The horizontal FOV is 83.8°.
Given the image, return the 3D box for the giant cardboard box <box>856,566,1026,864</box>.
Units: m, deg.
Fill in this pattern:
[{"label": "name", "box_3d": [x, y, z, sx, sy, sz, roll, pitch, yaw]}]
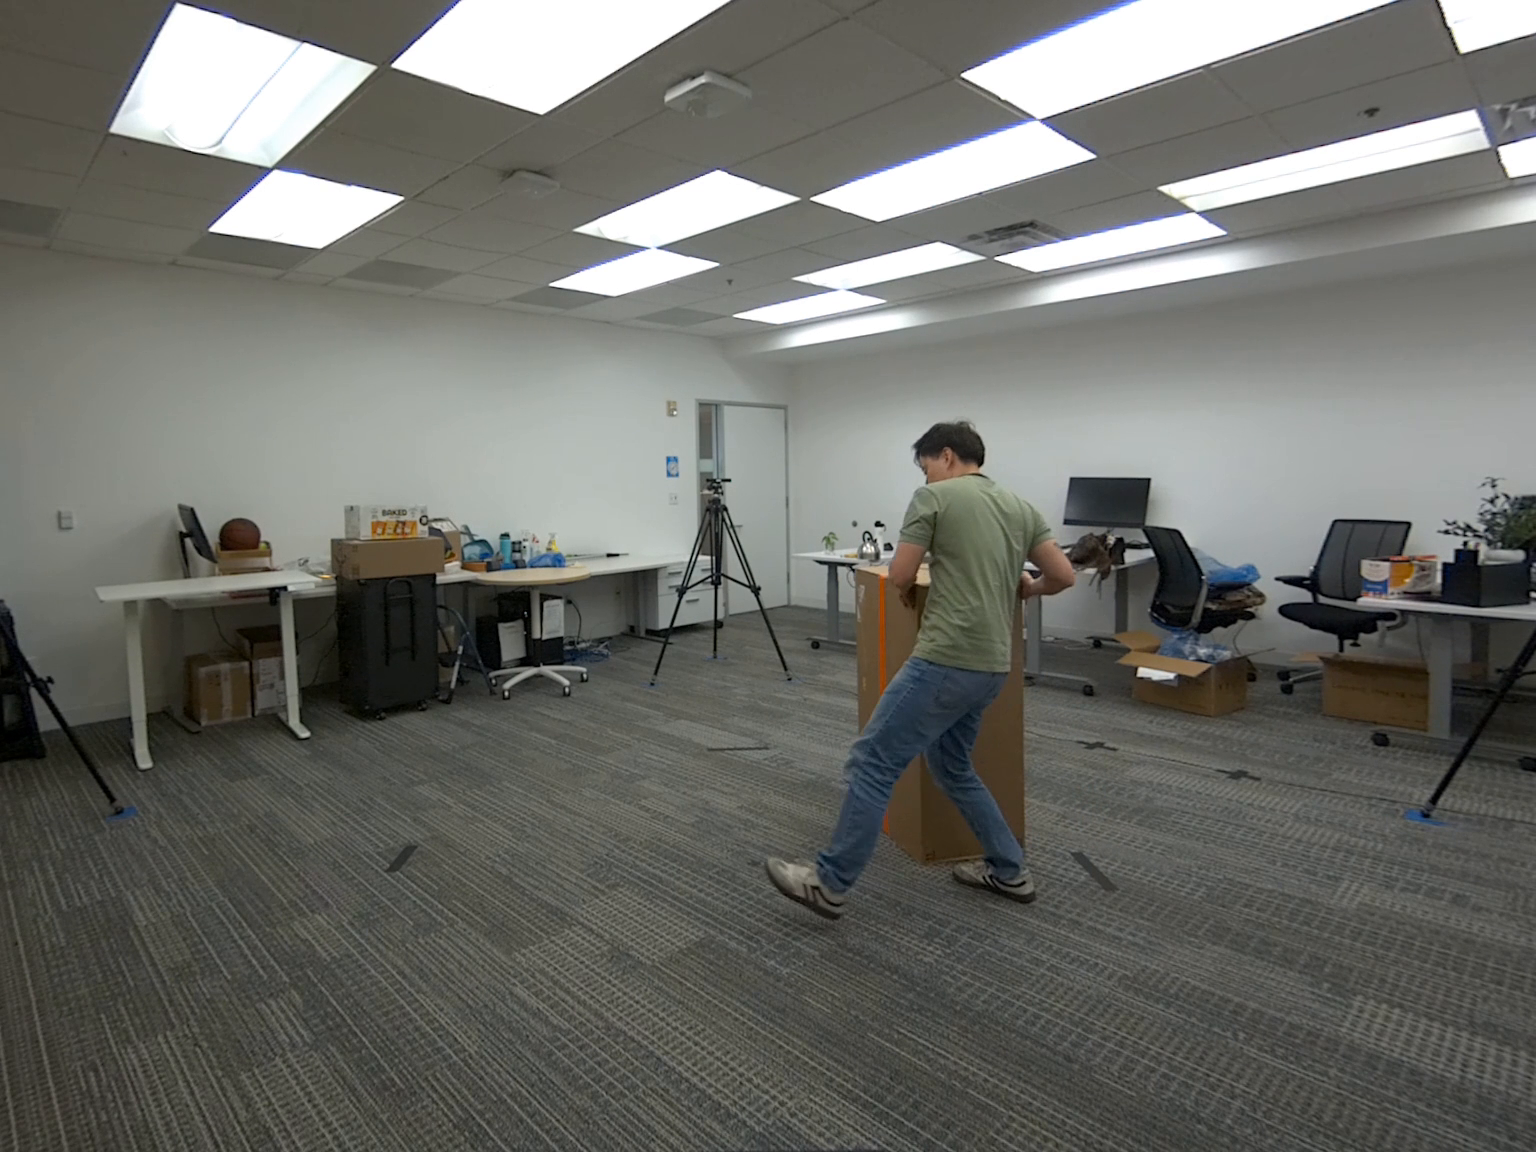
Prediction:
[{"label": "giant cardboard box", "box_3d": [0.655, 0.494, 3.348, 0.421, 1.022, 0.588, -3, 5, -15]}]
